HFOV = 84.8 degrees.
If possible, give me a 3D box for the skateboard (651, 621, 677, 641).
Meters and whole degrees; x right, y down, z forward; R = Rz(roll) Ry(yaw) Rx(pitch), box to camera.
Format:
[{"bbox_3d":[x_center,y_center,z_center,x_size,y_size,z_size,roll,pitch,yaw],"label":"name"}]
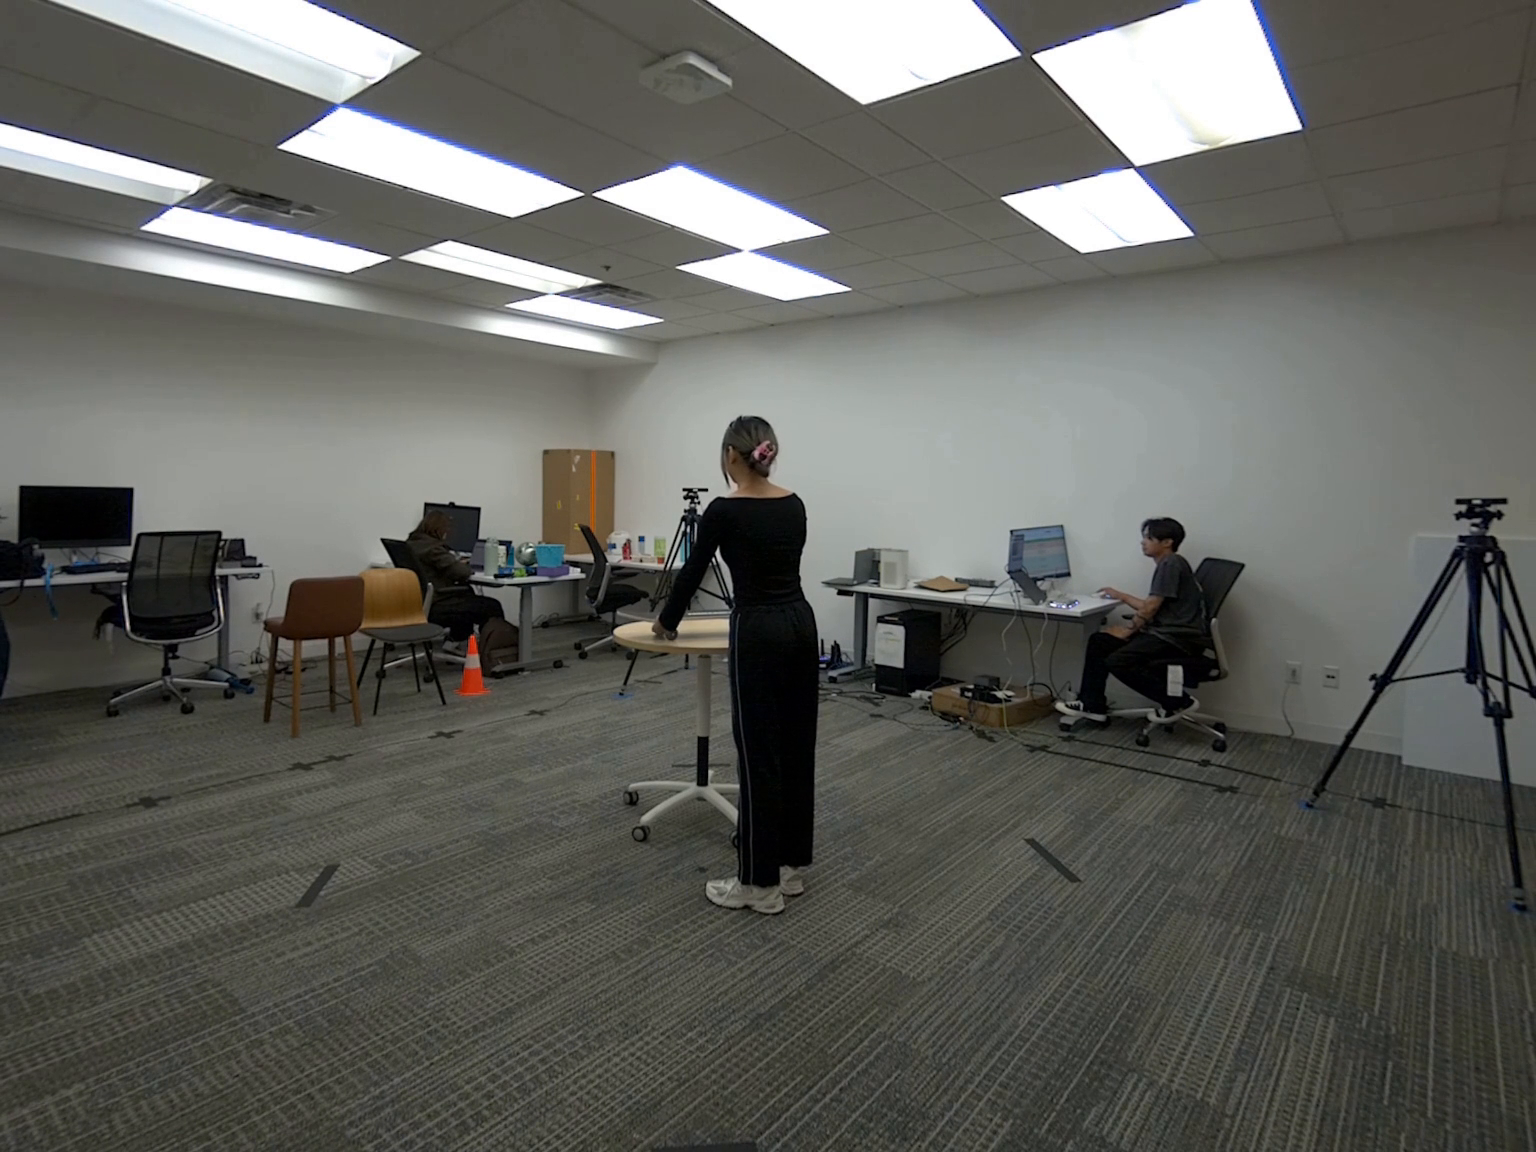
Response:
[{"bbox_3d":[-0.242,0.186,3.483,0.768,0.110,0.198,-1,4,-23],"label":"skateboard"}]
